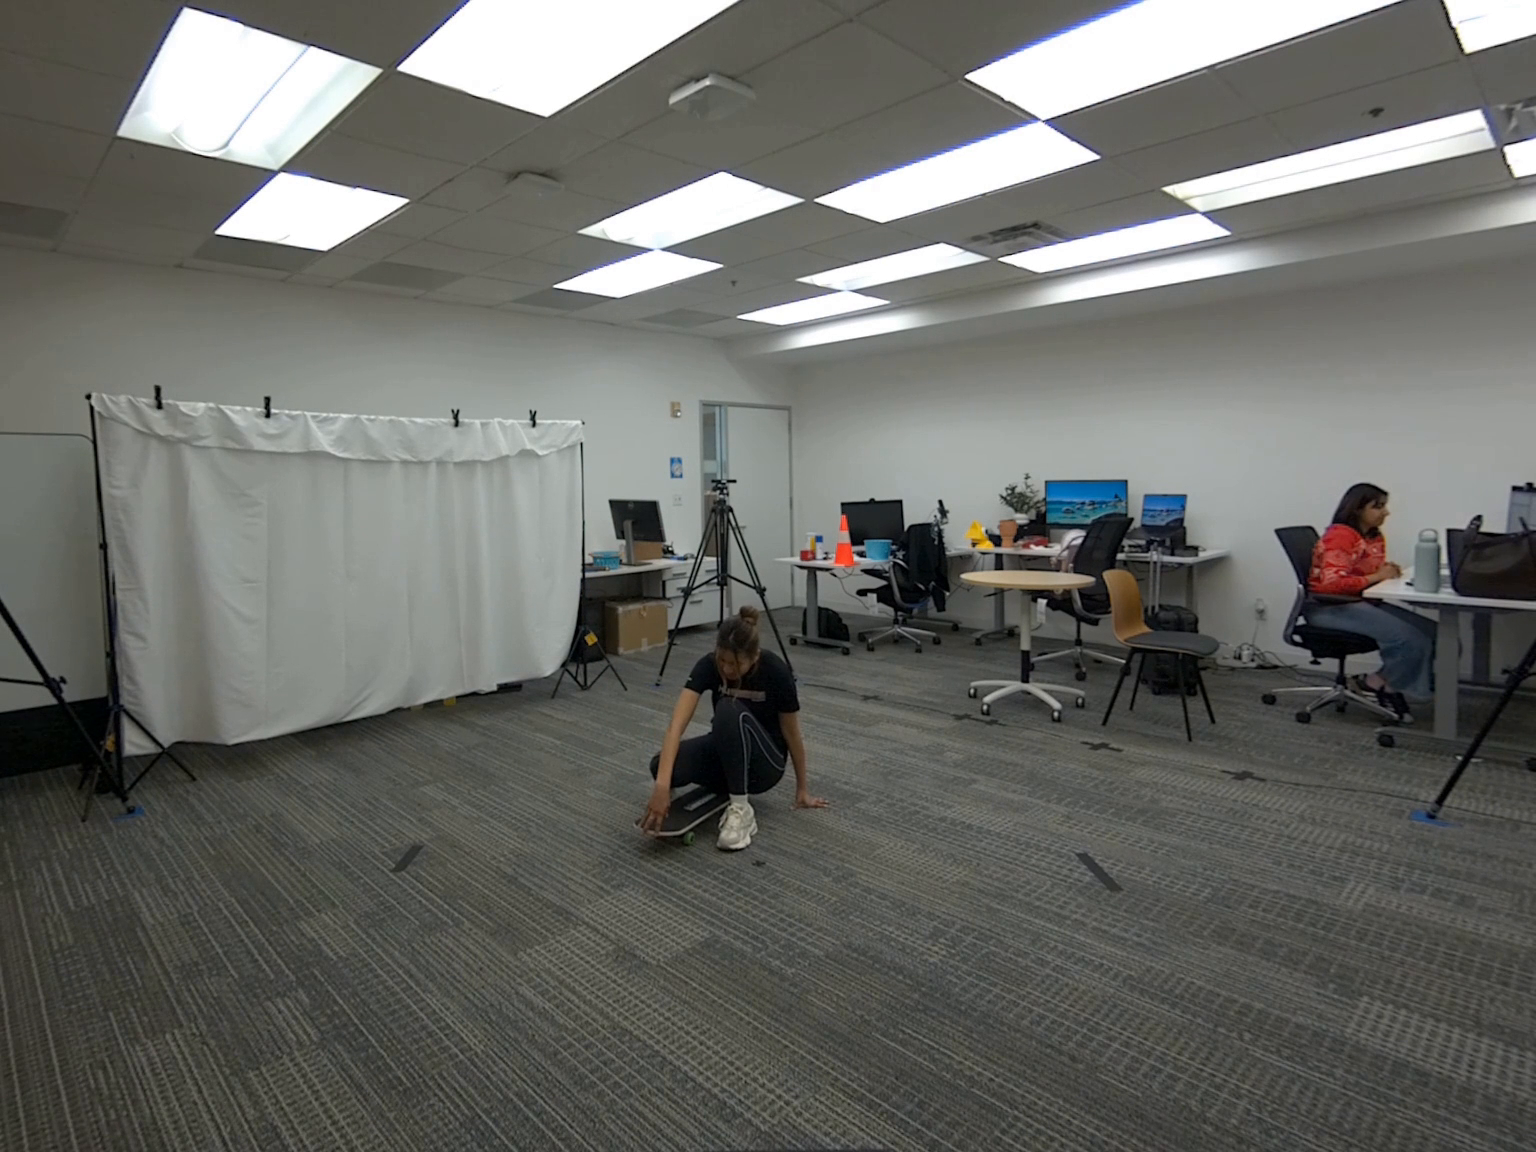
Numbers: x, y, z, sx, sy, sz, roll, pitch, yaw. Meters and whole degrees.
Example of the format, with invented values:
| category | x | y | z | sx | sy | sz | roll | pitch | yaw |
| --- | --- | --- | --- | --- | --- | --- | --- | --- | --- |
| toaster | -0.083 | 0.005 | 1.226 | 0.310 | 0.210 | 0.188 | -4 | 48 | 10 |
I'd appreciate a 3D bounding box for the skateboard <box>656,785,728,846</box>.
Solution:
| category | x | y | z | sx | sy | sz | roll | pitch | yaw |
| --- | --- | --- | --- | --- | --- | --- | --- | --- | --- |
| skateboard | -0.273 | 0.948 | 3.482 | 0.198 | 0.110 | 0.769 | 3 | 7 | 28 |
